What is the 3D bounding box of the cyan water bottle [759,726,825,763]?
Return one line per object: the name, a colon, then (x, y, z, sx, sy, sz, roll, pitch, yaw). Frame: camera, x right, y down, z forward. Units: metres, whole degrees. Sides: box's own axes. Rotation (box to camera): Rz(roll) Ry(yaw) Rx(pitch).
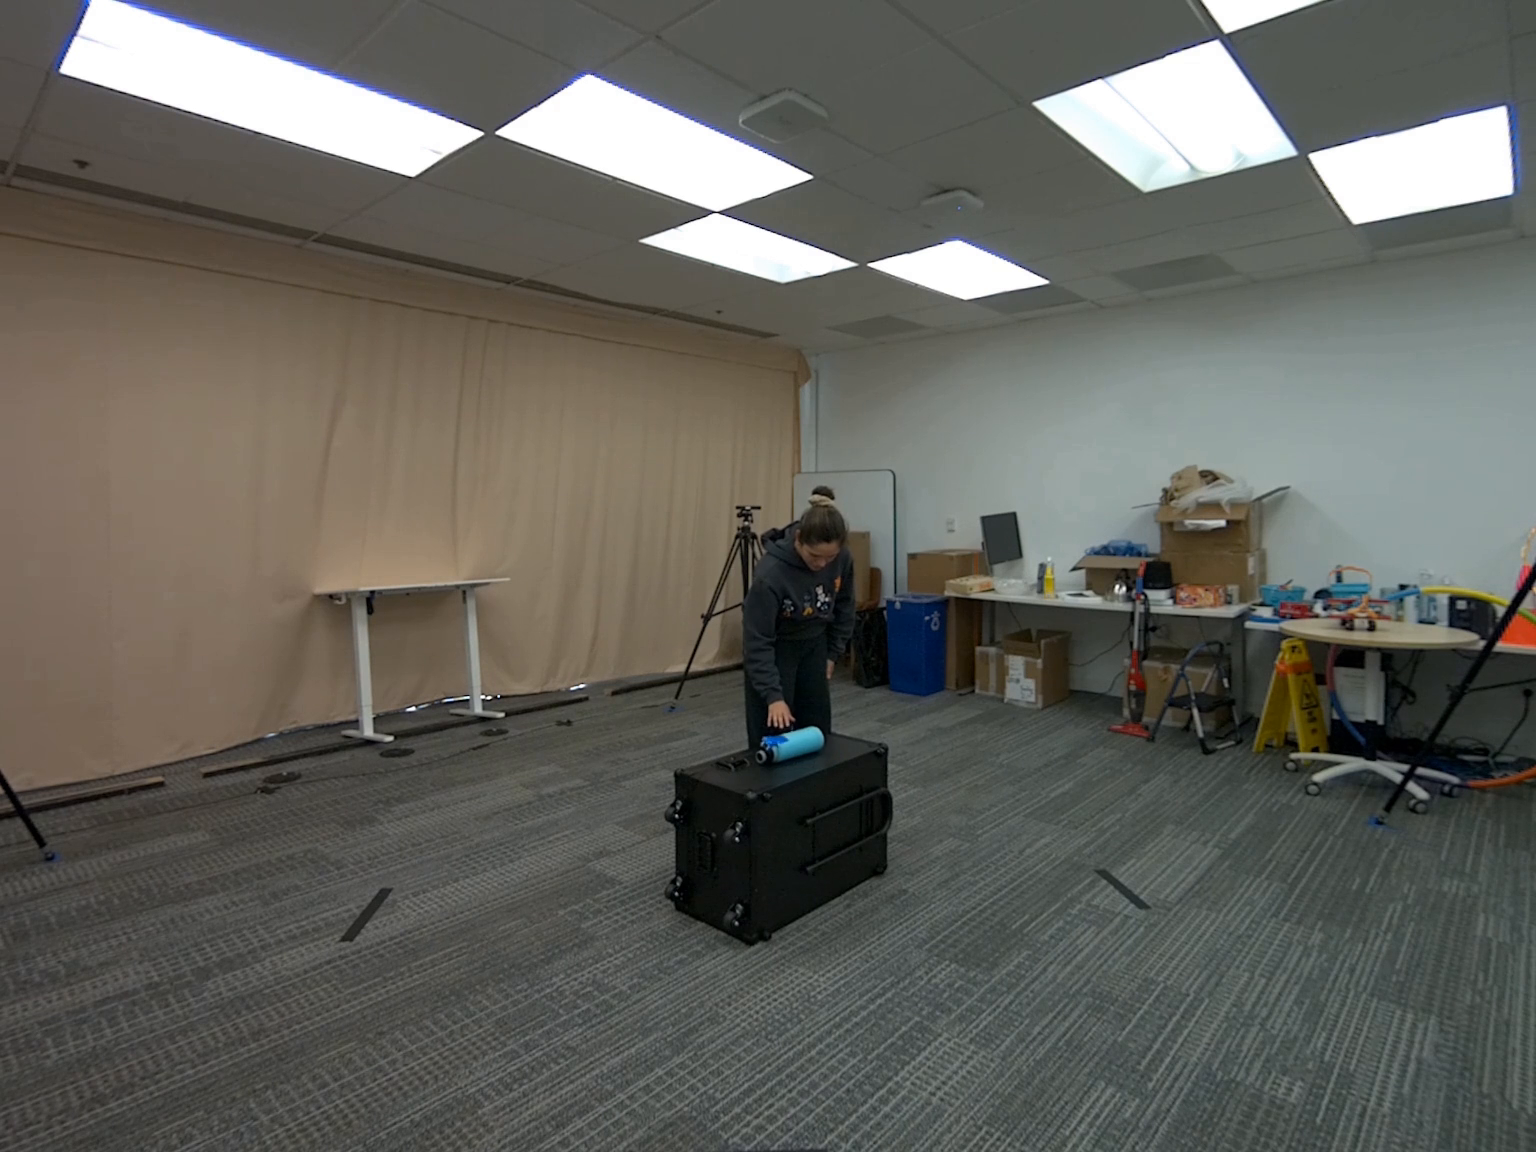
cyan water bottle: (0.088, 0.601, 3.034, 0.275, 0.092, 0.095, -5, 6, -42)
